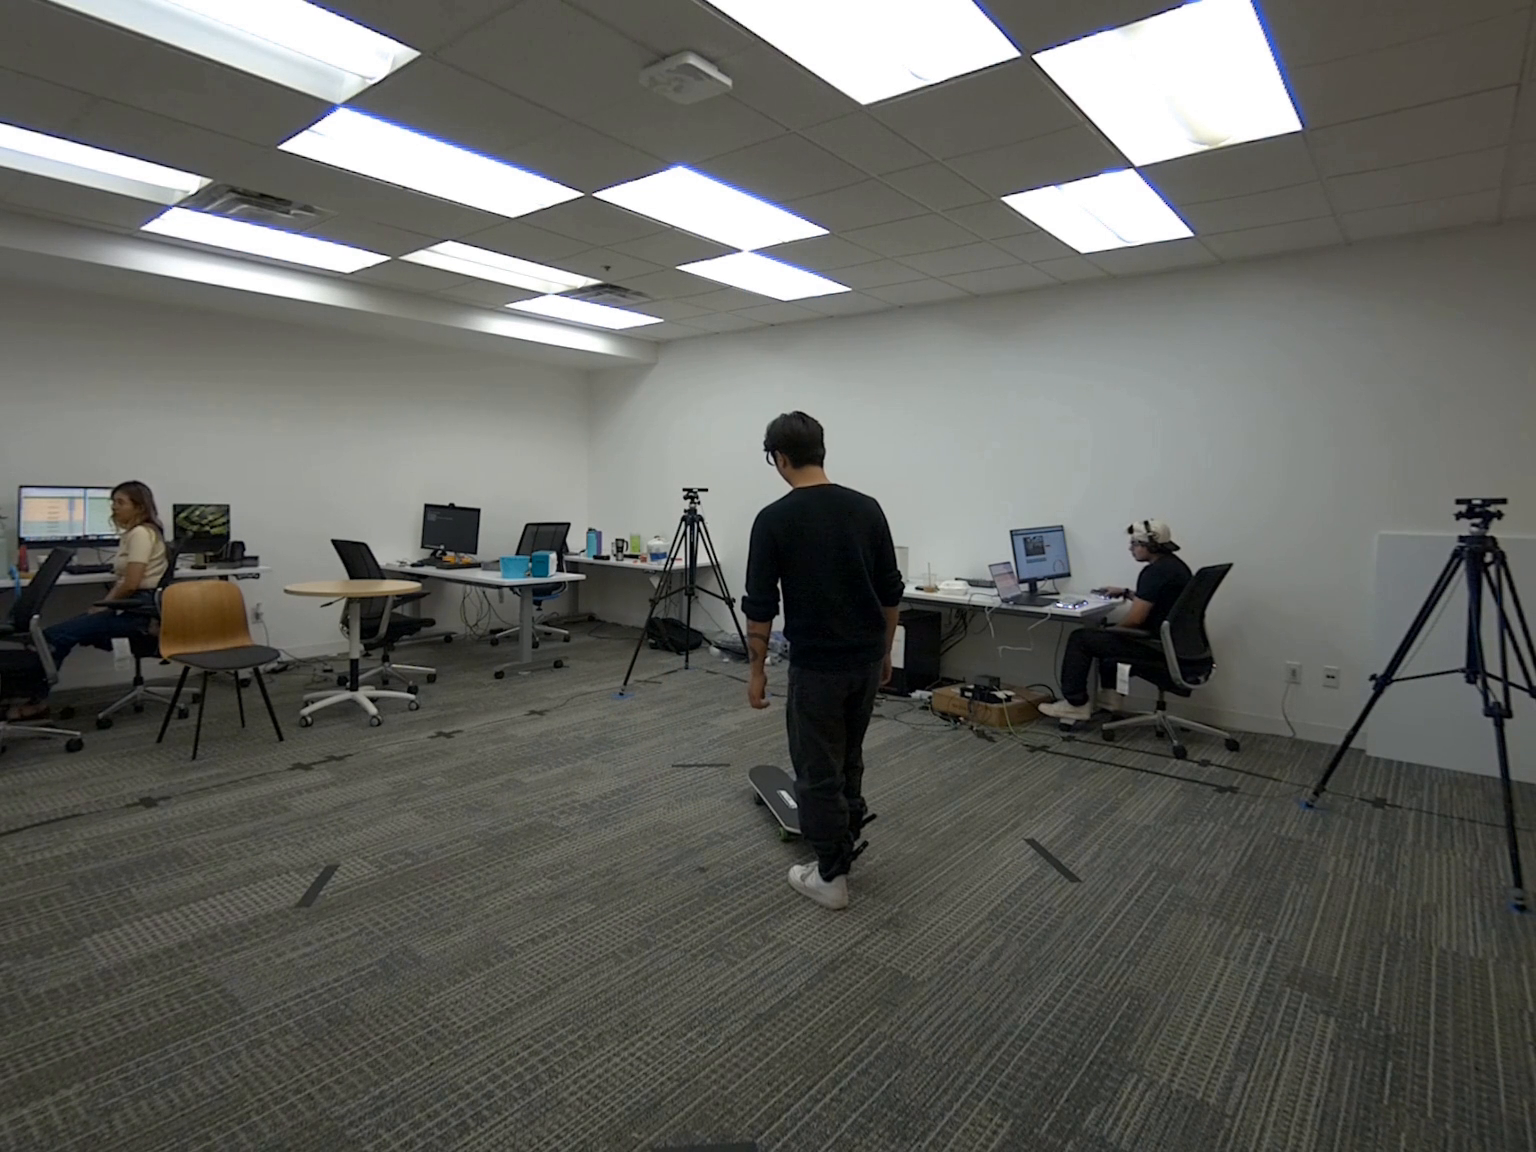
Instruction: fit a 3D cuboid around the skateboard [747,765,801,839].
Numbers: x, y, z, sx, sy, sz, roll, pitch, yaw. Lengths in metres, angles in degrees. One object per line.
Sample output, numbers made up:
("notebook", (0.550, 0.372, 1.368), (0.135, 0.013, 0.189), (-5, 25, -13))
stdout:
("skateboard", (0.074, 0.968, 3.595), (0.190, 0.110, 0.801), (-1, 7, -16))
